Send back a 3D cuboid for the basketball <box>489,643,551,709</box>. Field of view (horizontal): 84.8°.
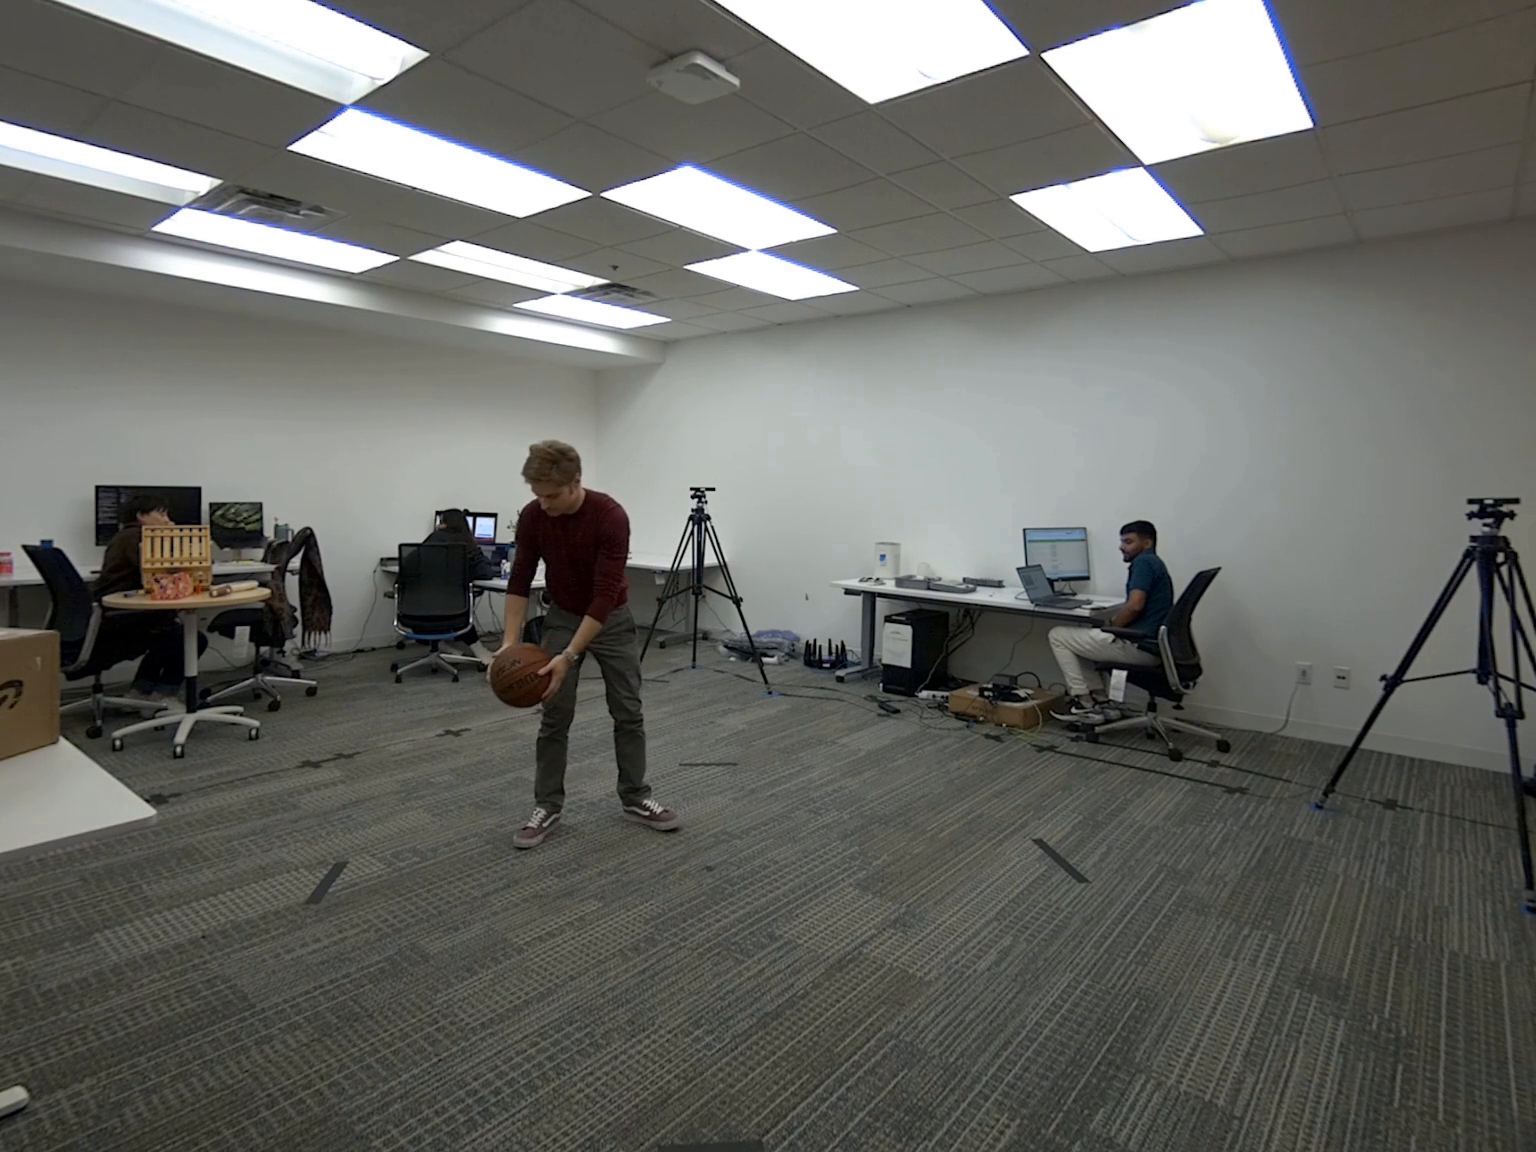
[{"bbox_3d":[-0.905,0.379,3.147,0.235,0.235,0.237,1,4,-2],"label":"basketball"}]
